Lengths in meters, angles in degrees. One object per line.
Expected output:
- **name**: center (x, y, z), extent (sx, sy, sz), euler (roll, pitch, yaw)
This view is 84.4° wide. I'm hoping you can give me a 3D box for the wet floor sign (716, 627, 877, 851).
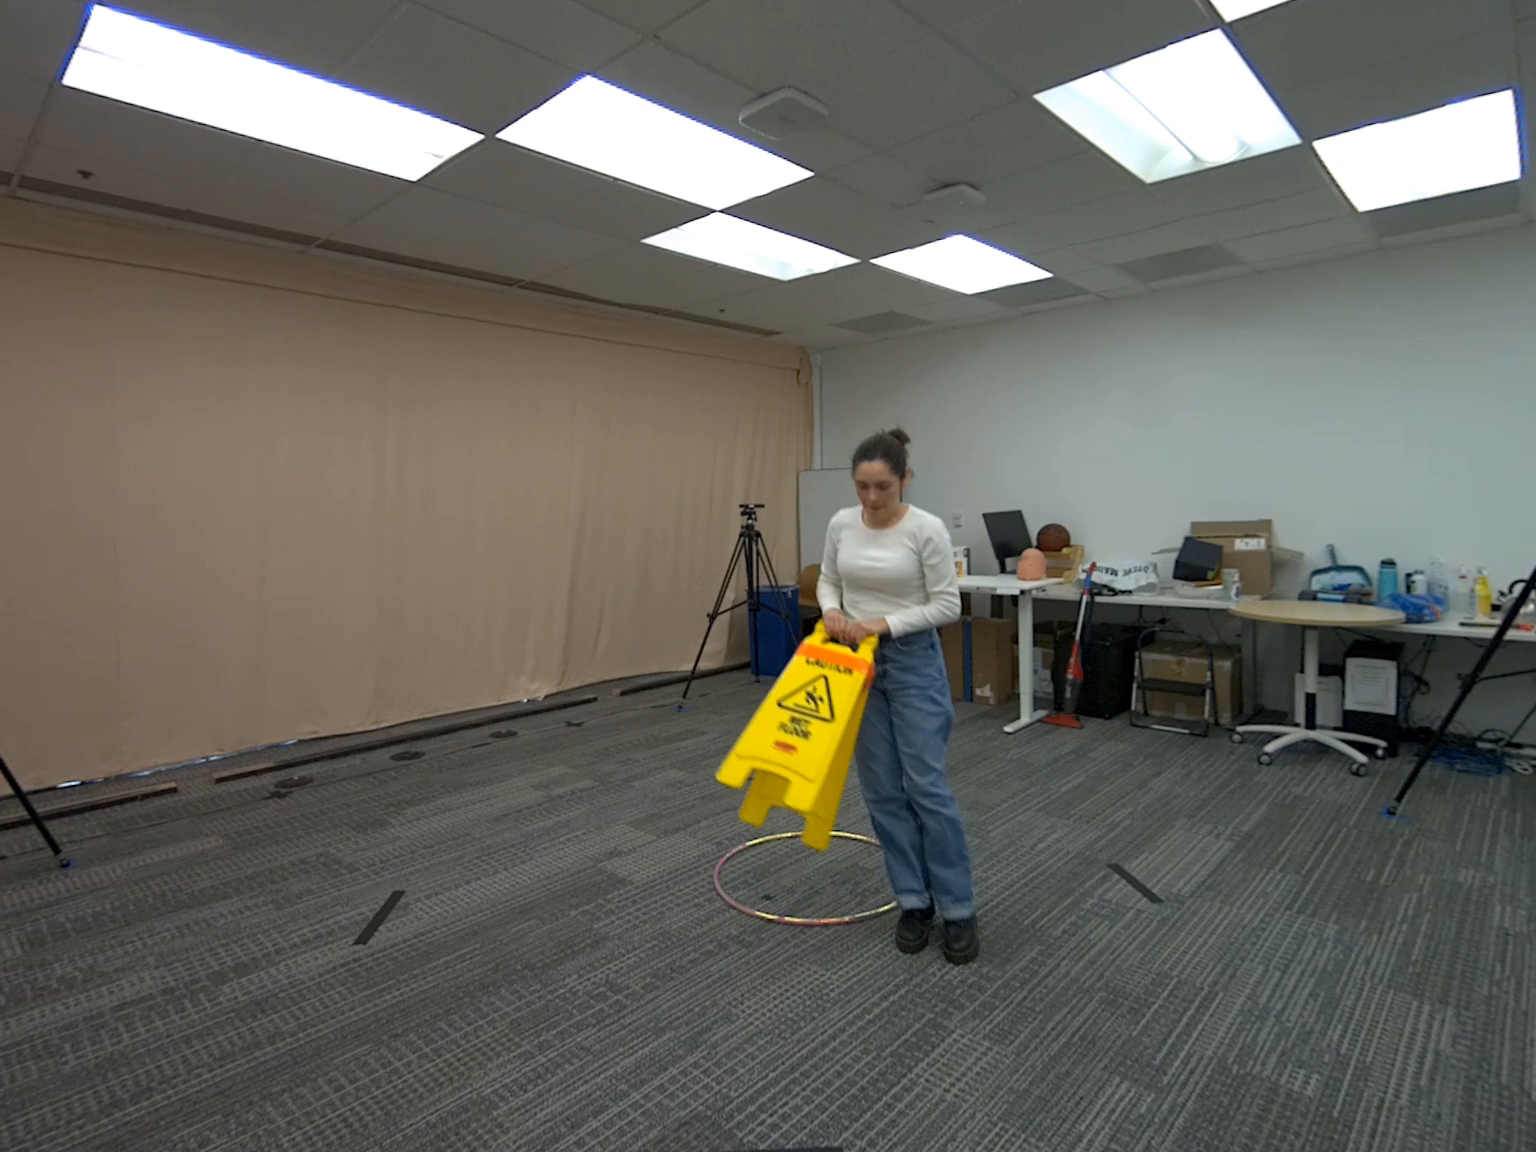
- **wet floor sign**: center (0.150, 0.423, 2.499), extent (0.290, 0.648, 0.281), euler (10, -32, 24)
